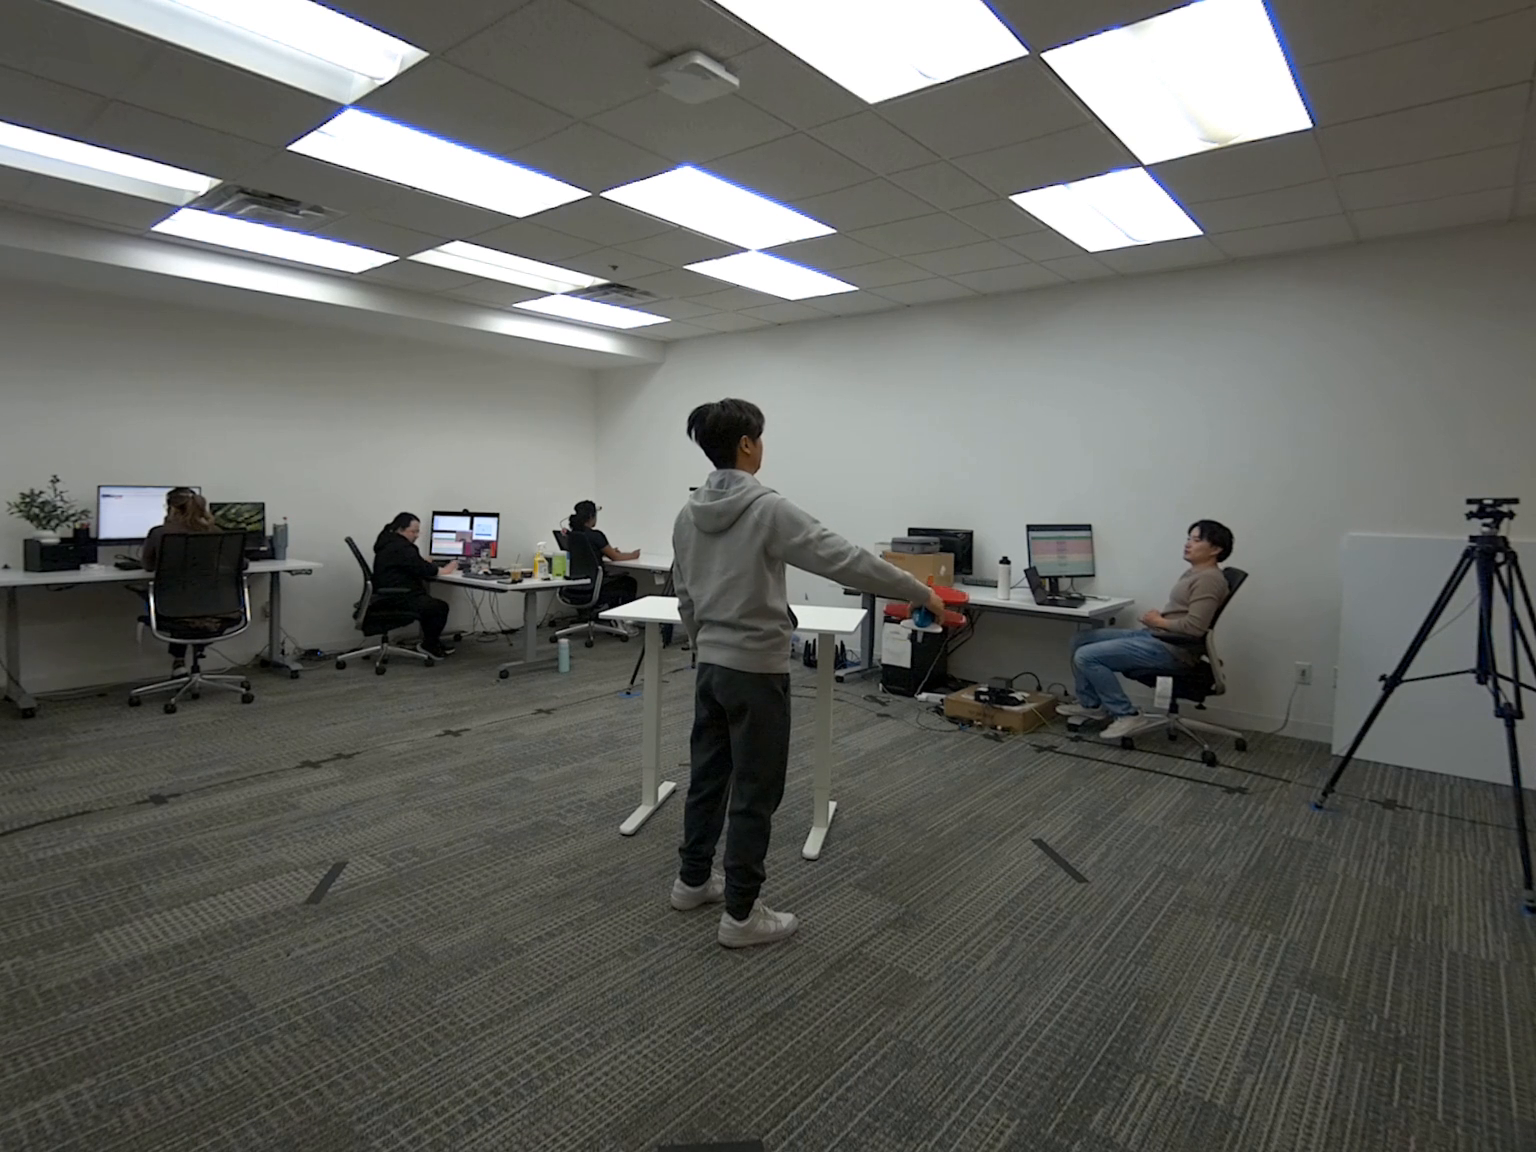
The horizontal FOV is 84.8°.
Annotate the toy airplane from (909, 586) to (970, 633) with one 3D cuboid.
[{"bbox_3d":[0.507,0.106,2.632,0.248,0.155,0.265,4,10,-13],"label":"toy airplane"}]
